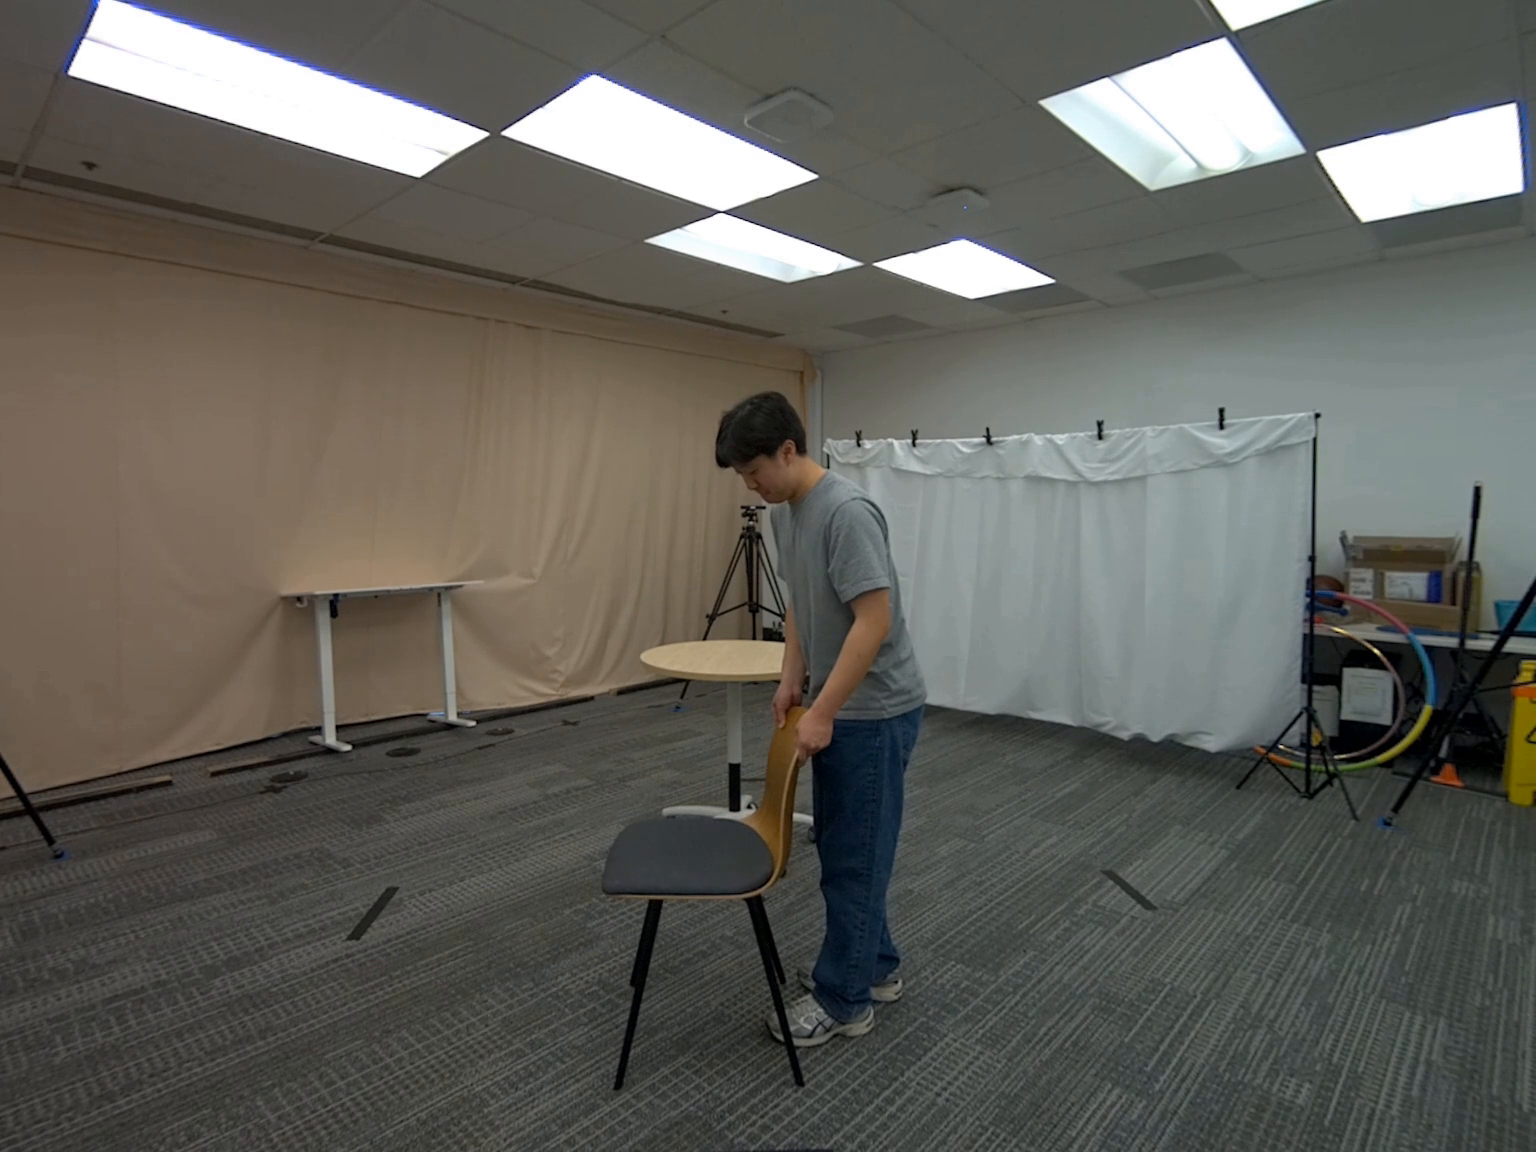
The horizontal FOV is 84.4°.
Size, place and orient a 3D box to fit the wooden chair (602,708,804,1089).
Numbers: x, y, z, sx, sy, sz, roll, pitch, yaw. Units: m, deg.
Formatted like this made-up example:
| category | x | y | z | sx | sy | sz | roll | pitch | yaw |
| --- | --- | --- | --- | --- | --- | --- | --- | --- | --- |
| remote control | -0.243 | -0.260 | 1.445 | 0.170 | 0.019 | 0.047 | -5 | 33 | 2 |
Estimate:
| category | x | y | z | sx | sy | sz | roll | pitch | yaw |
| --- | --- | --- | --- | --- | --- | --- | --- | --- | --- |
| wooden chair | -0.168 | 0.780 | 2.218 | 0.522 | 0.875 | 0.480 | 4 | 4 | -2 |
